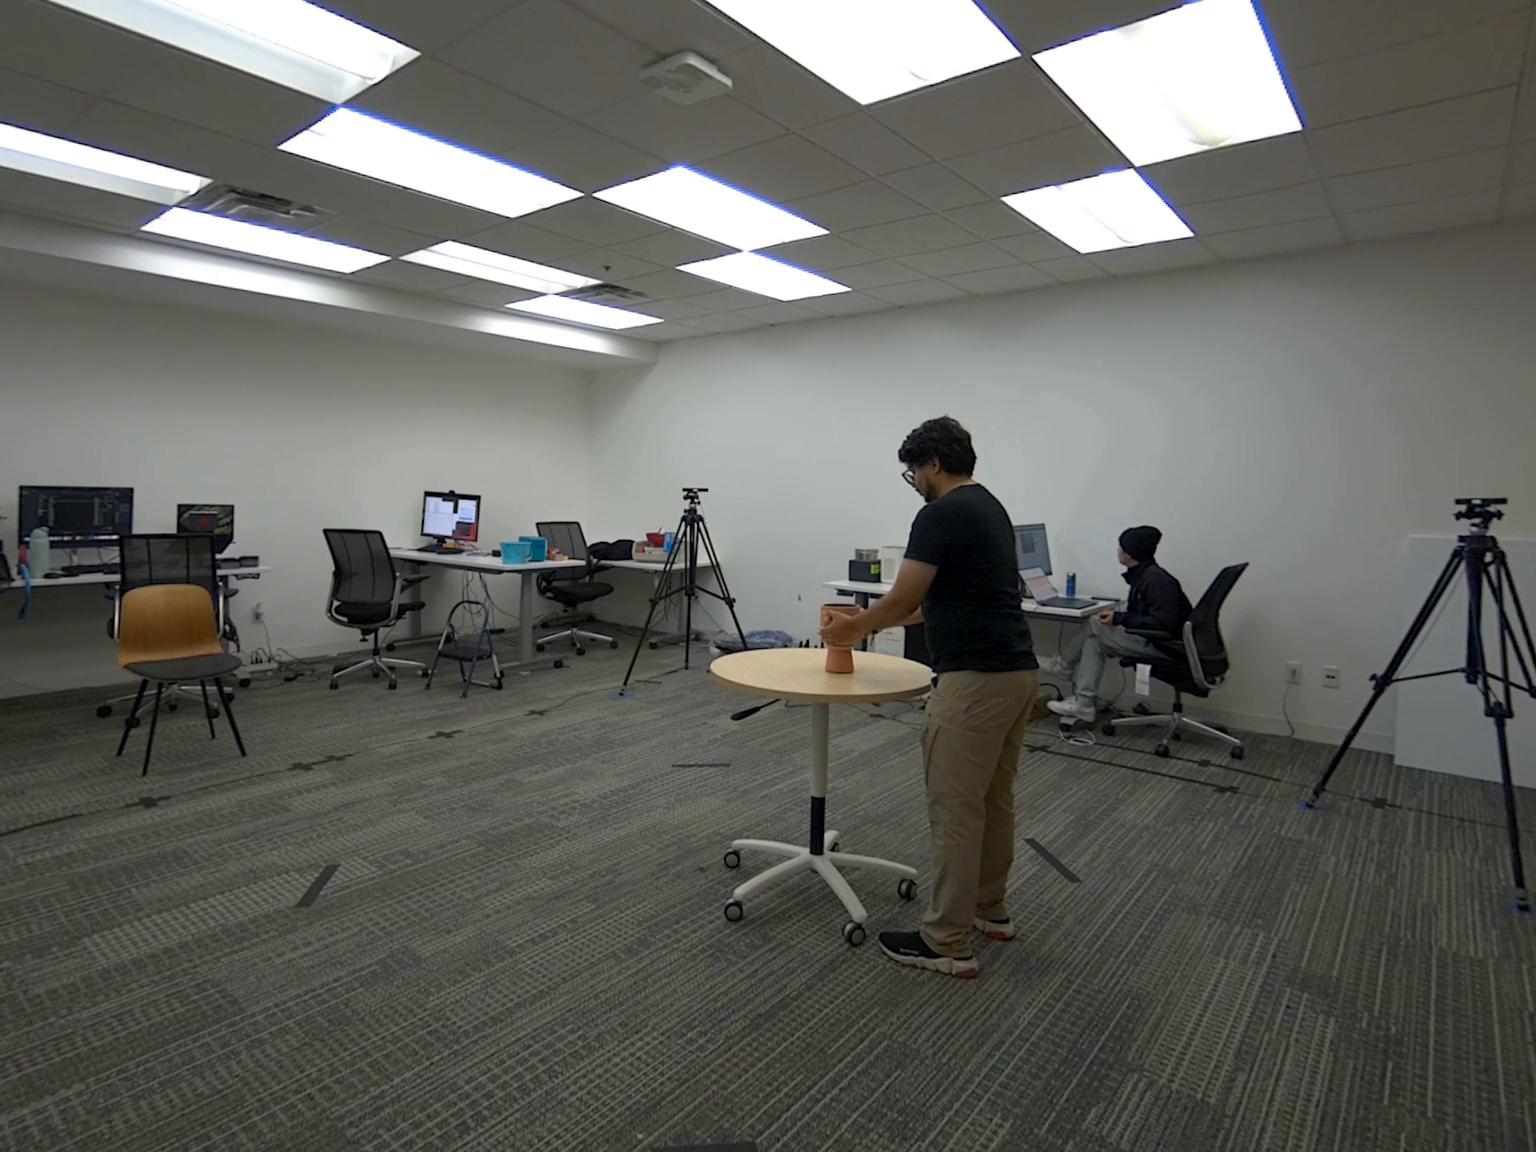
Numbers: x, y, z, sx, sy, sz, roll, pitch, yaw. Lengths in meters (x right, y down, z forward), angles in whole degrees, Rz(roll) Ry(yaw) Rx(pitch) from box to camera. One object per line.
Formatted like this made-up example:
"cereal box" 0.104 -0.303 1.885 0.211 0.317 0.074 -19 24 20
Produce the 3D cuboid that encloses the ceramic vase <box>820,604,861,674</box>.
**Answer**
"ceramic vase" 0.241 0.207 2.877 0.155 0.219 0.138 0 6 -22
